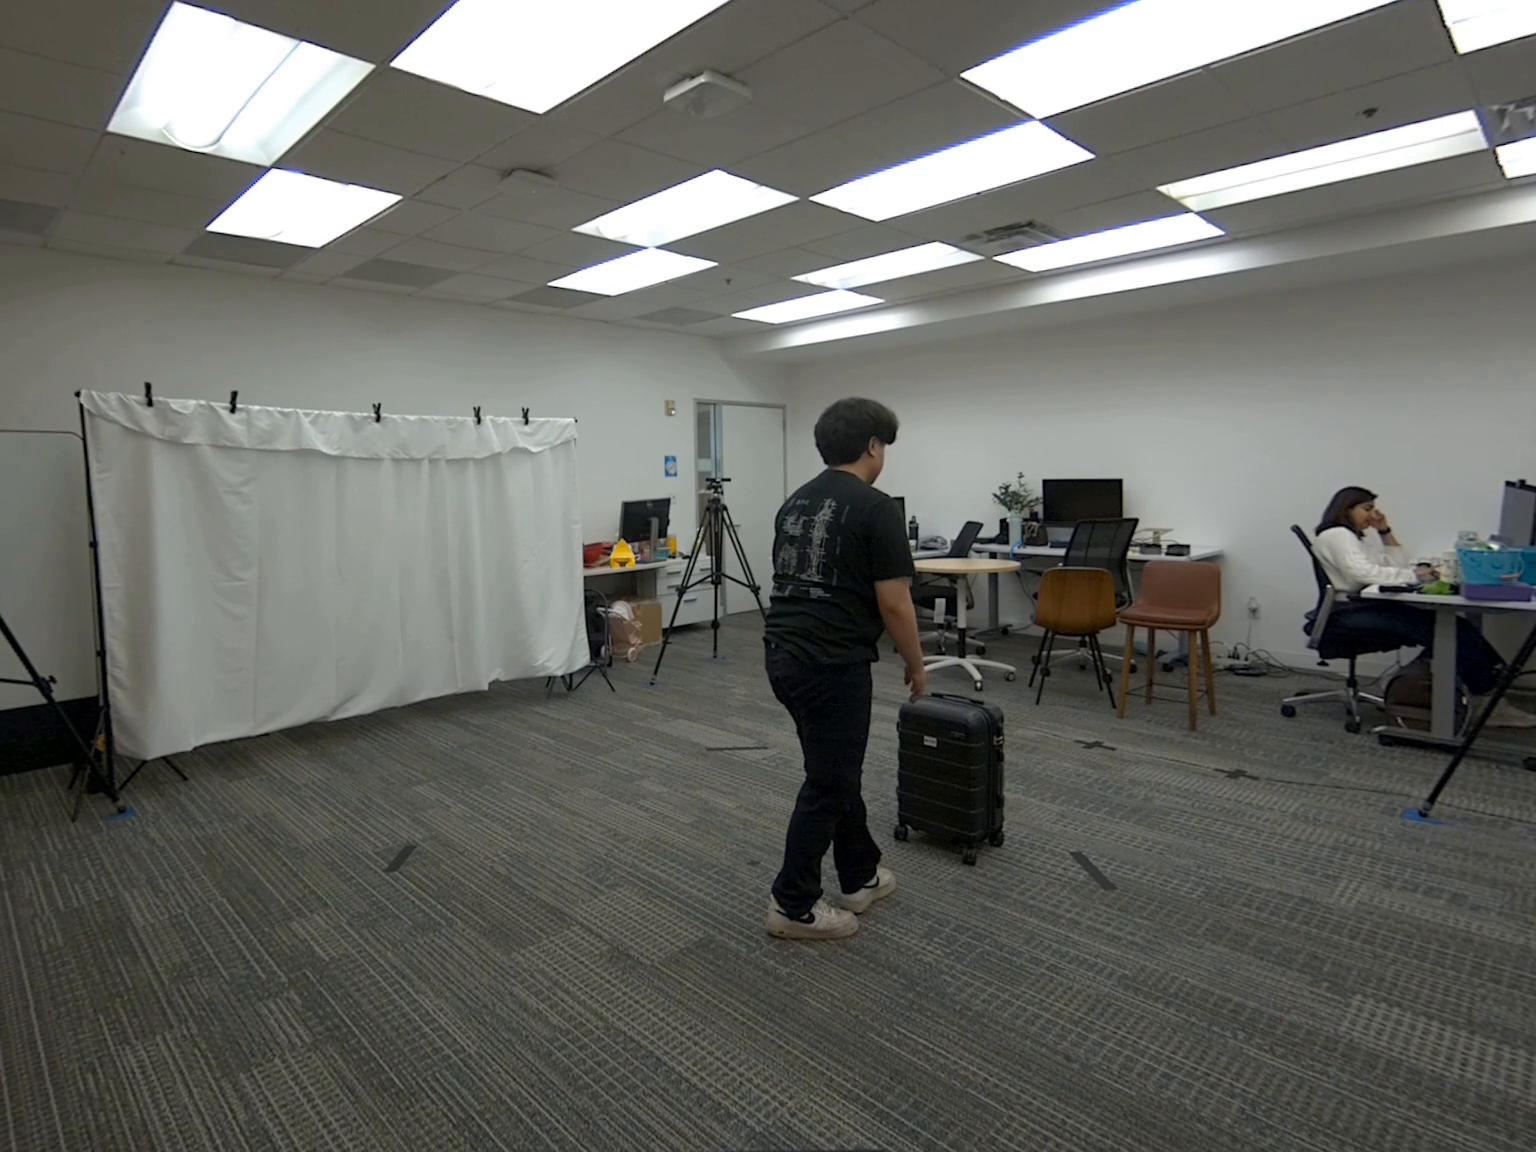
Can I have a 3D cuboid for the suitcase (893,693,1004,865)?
[{"bbox_3d":[0.700,0.737,3.250,0.387,0.548,0.241,3,4,44],"label":"suitcase"}]
